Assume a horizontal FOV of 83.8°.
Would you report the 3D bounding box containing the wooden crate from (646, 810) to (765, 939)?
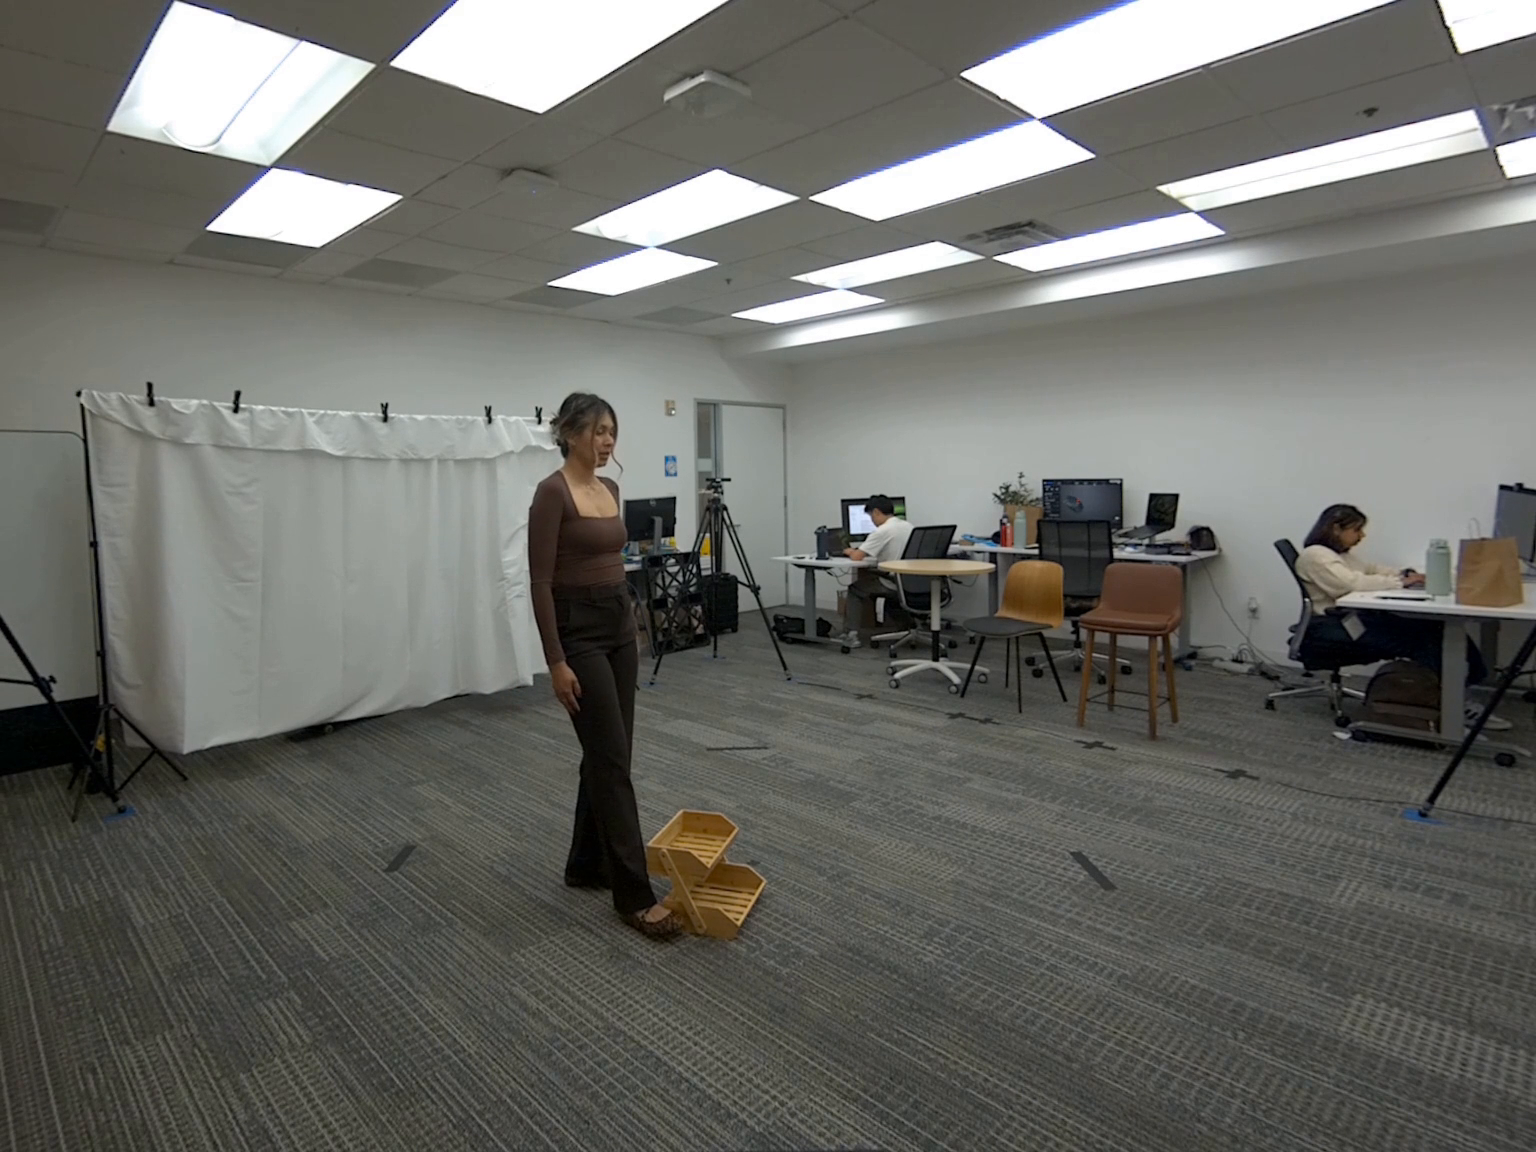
[{"bbox_3d":[-0.190,0.947,2.765,0.307,0.272,0.320,0,5,17],"label":"wooden crate"}]
